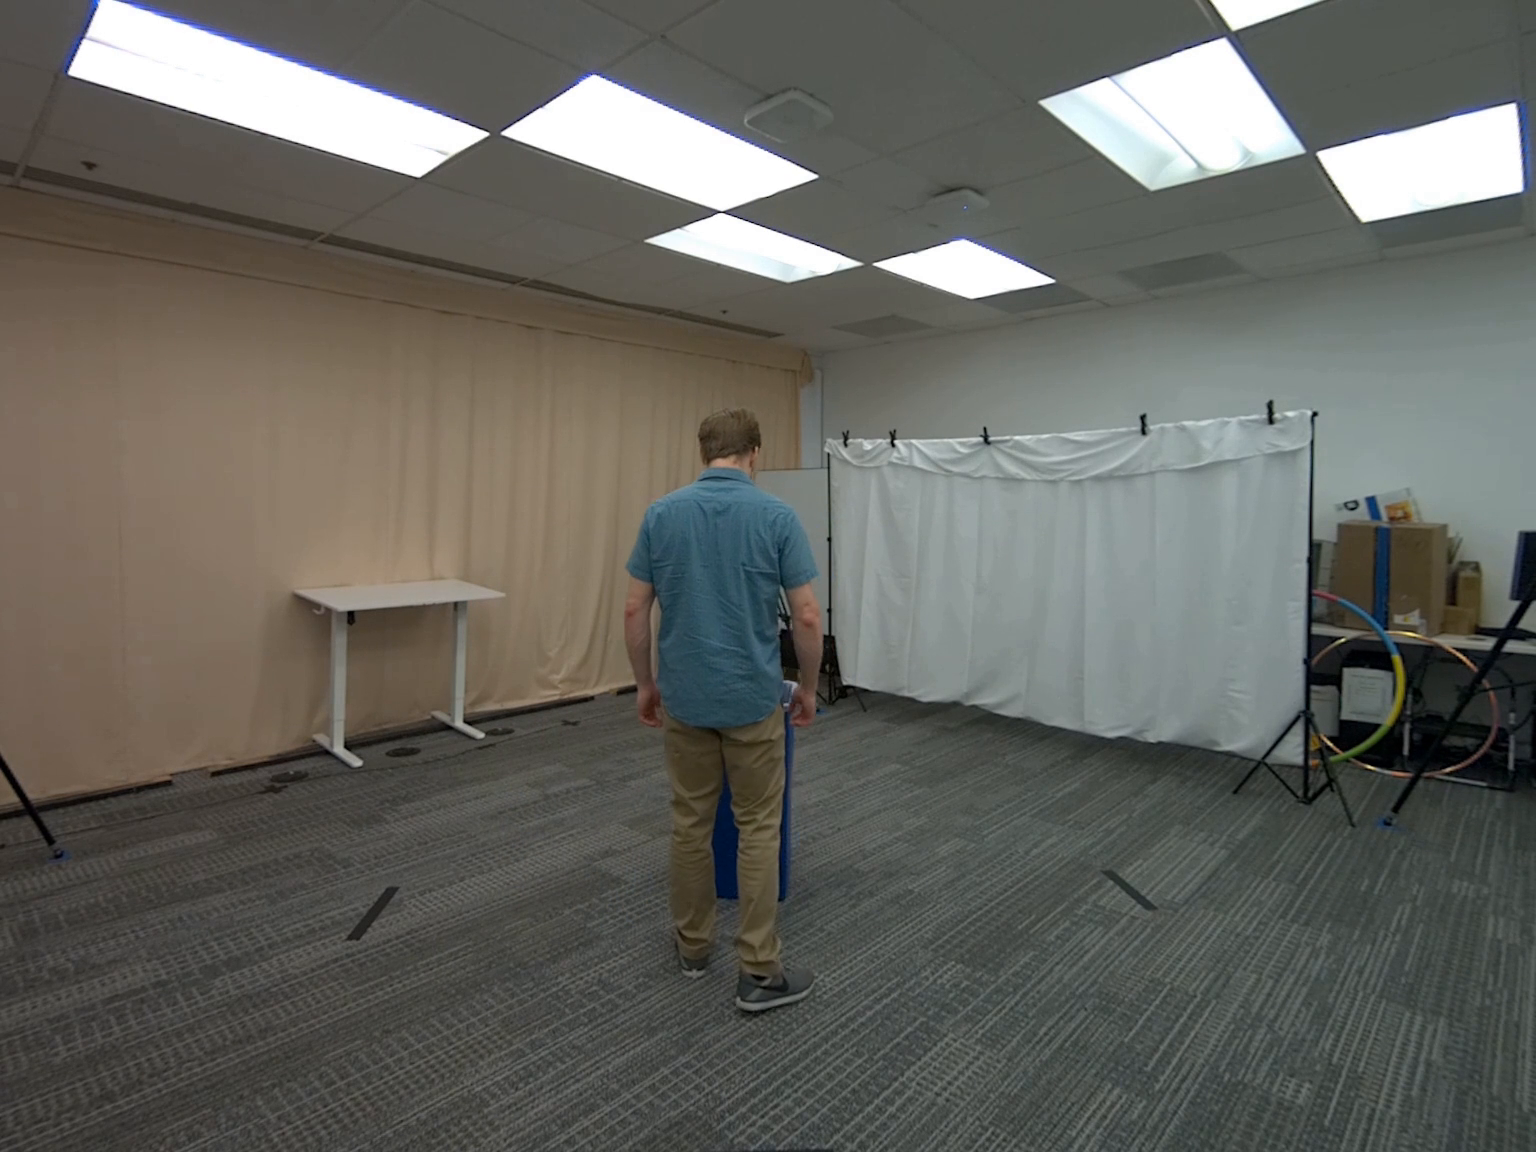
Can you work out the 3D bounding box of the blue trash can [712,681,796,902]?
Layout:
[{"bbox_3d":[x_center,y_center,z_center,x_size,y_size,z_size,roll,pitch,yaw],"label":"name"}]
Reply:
[{"bbox_3d":[-0.077,0.777,3.094,0.381,0.712,0.372,0,3,6],"label":"blue trash can"}]
